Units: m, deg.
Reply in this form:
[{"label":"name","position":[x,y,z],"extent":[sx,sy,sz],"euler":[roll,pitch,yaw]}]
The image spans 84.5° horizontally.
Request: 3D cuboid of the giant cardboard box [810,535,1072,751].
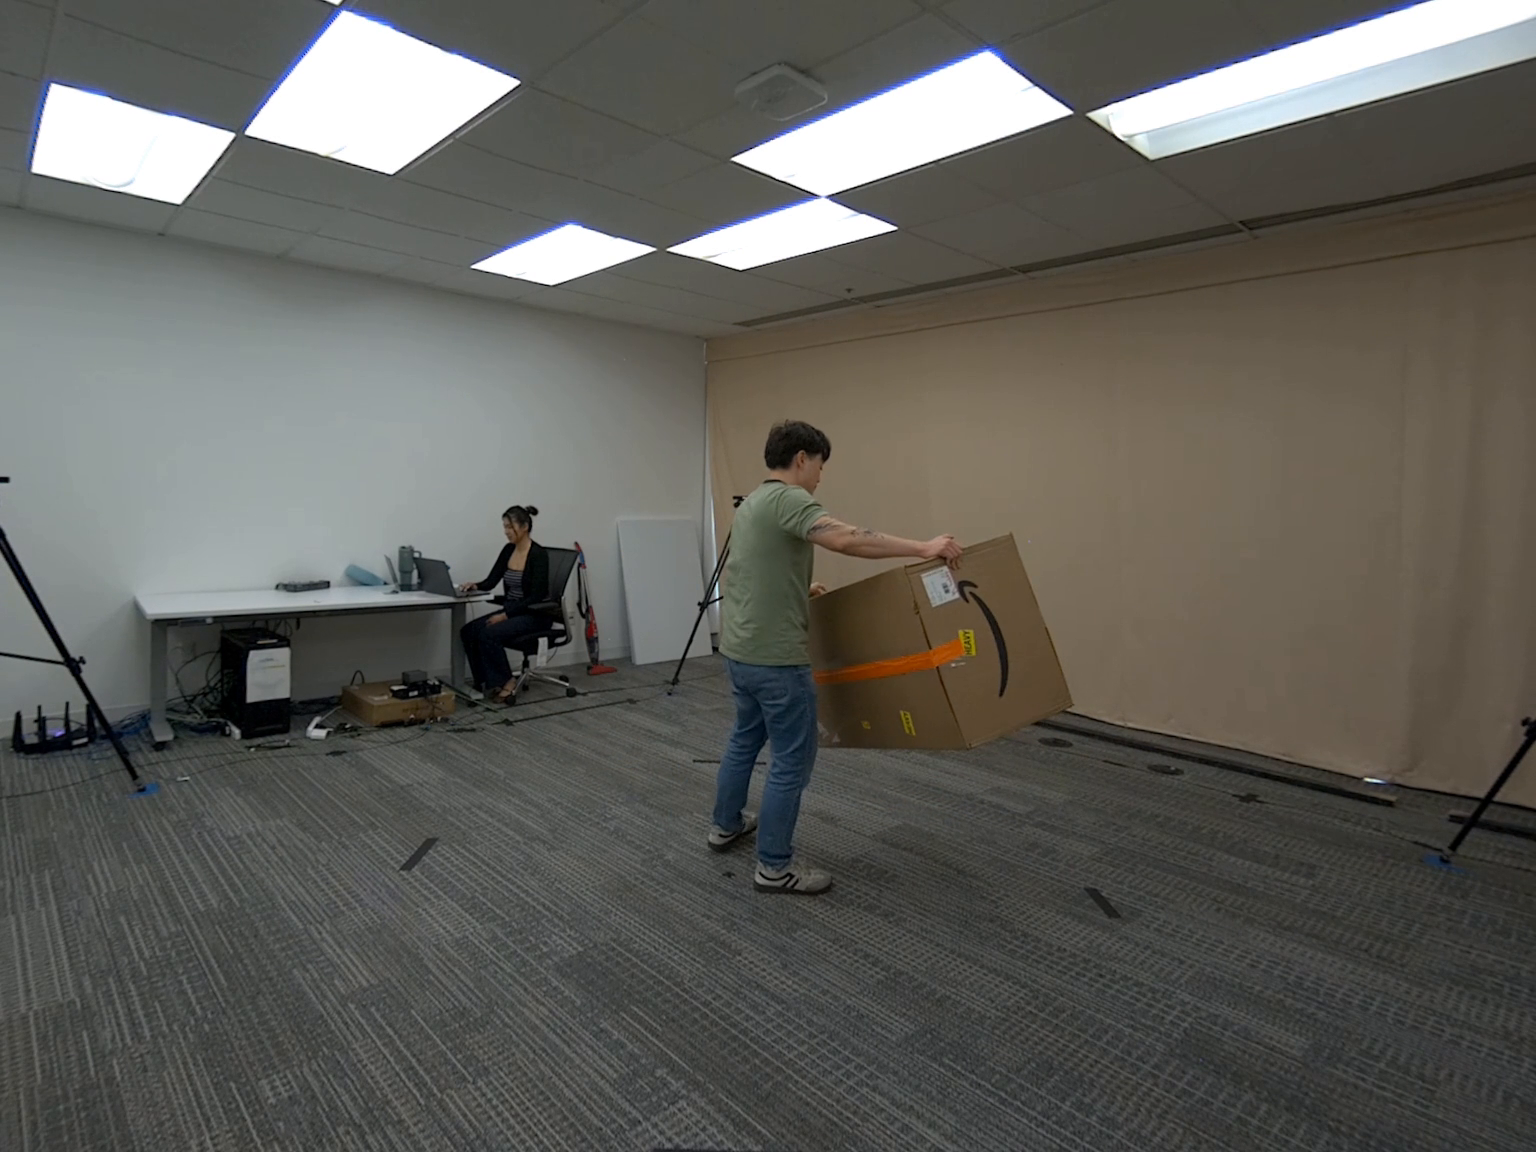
[{"label":"giant cardboard box","position":[0.476,0.285,3.046],"extent":[0.421,0.581,1.032],"euler":[-16,-5,-23]}]
